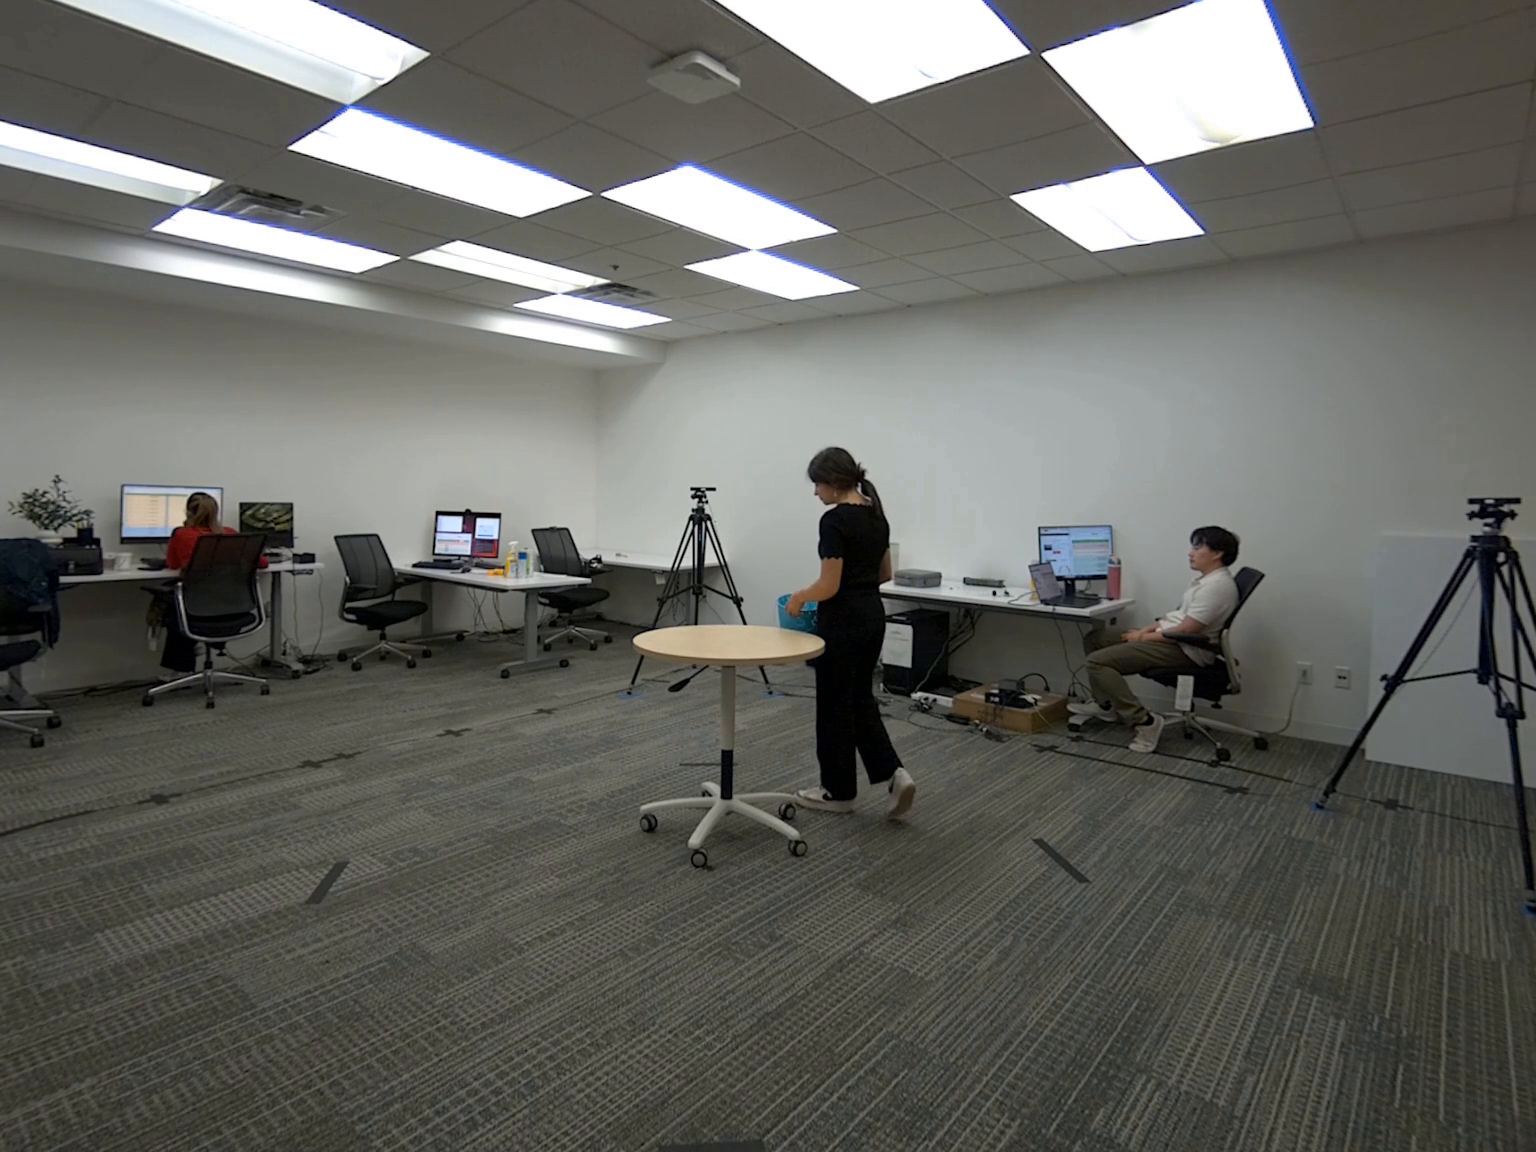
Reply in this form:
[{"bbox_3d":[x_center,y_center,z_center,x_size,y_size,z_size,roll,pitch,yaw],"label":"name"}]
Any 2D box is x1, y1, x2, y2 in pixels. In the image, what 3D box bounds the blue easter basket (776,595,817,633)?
[{"bbox_3d":[0.157,0.176,3.855,0.243,0.154,0.246,2,10,-2],"label":"blue easter basket"}]
